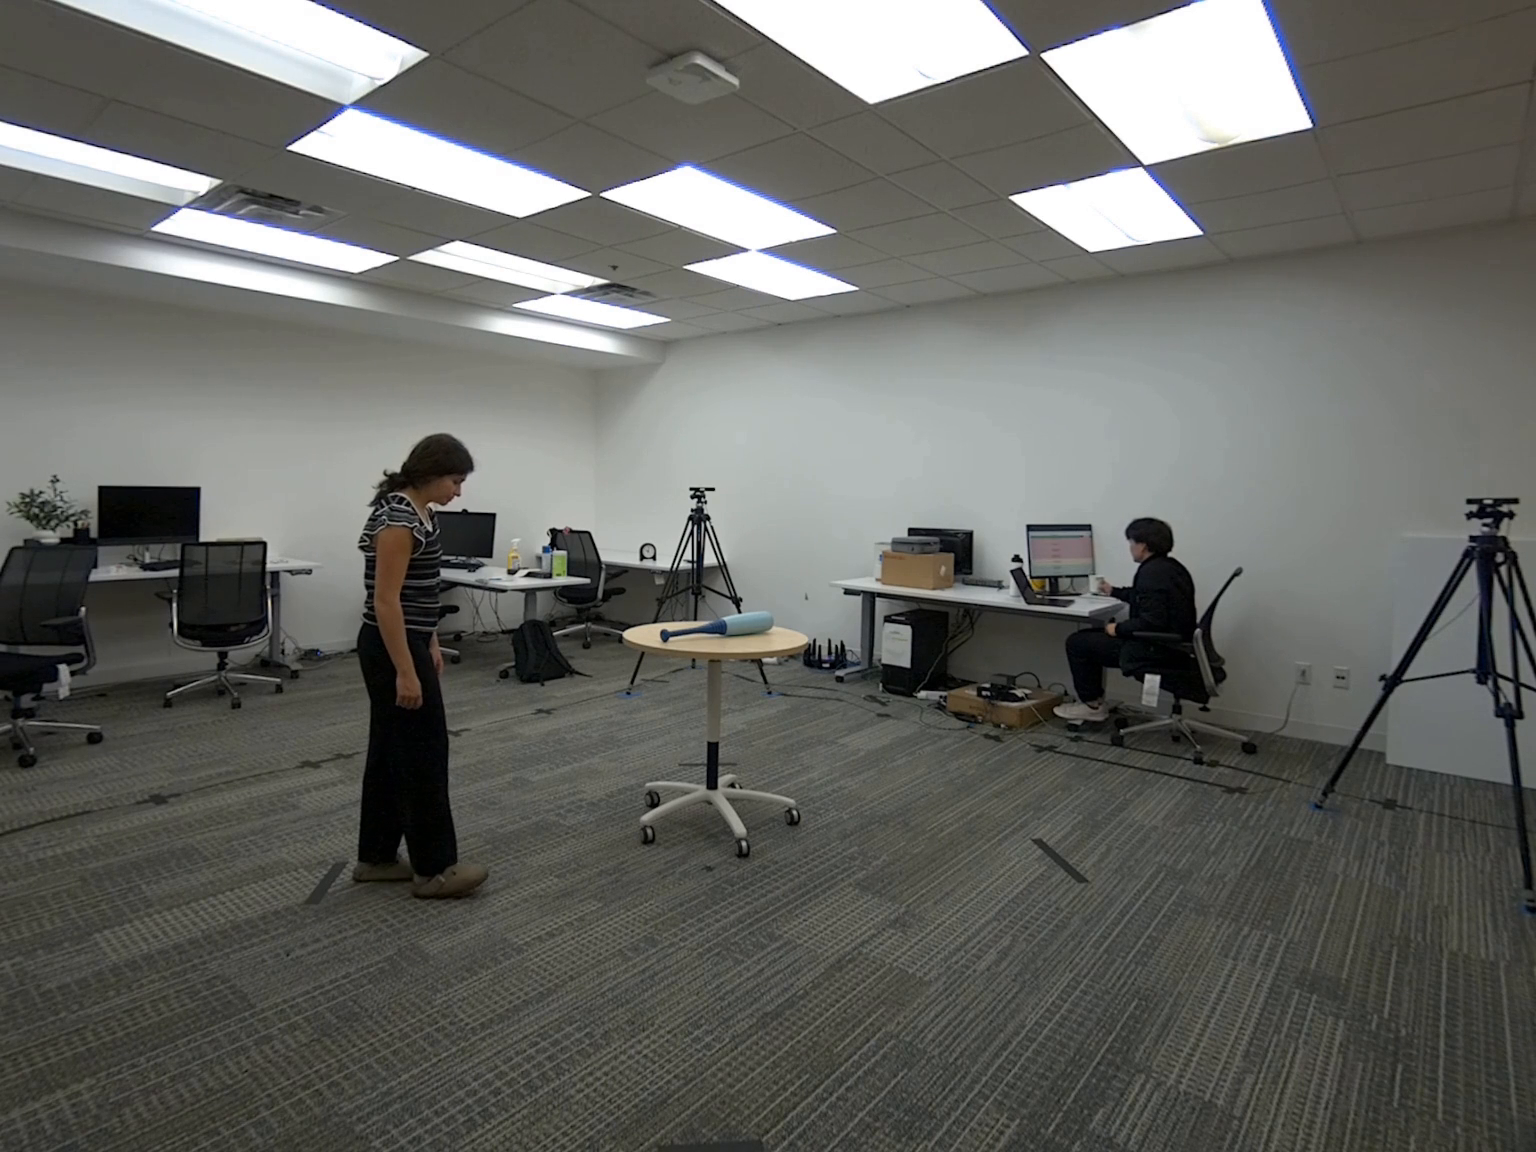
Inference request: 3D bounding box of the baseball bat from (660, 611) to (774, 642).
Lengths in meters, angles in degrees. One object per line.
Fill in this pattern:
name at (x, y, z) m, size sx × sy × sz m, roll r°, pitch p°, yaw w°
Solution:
baseball bat at (-0.207, 0.214, 3.485) m, size 0.528 × 0.088 × 0.092 m, roll -6°, pitch 7°, yaw -37°
